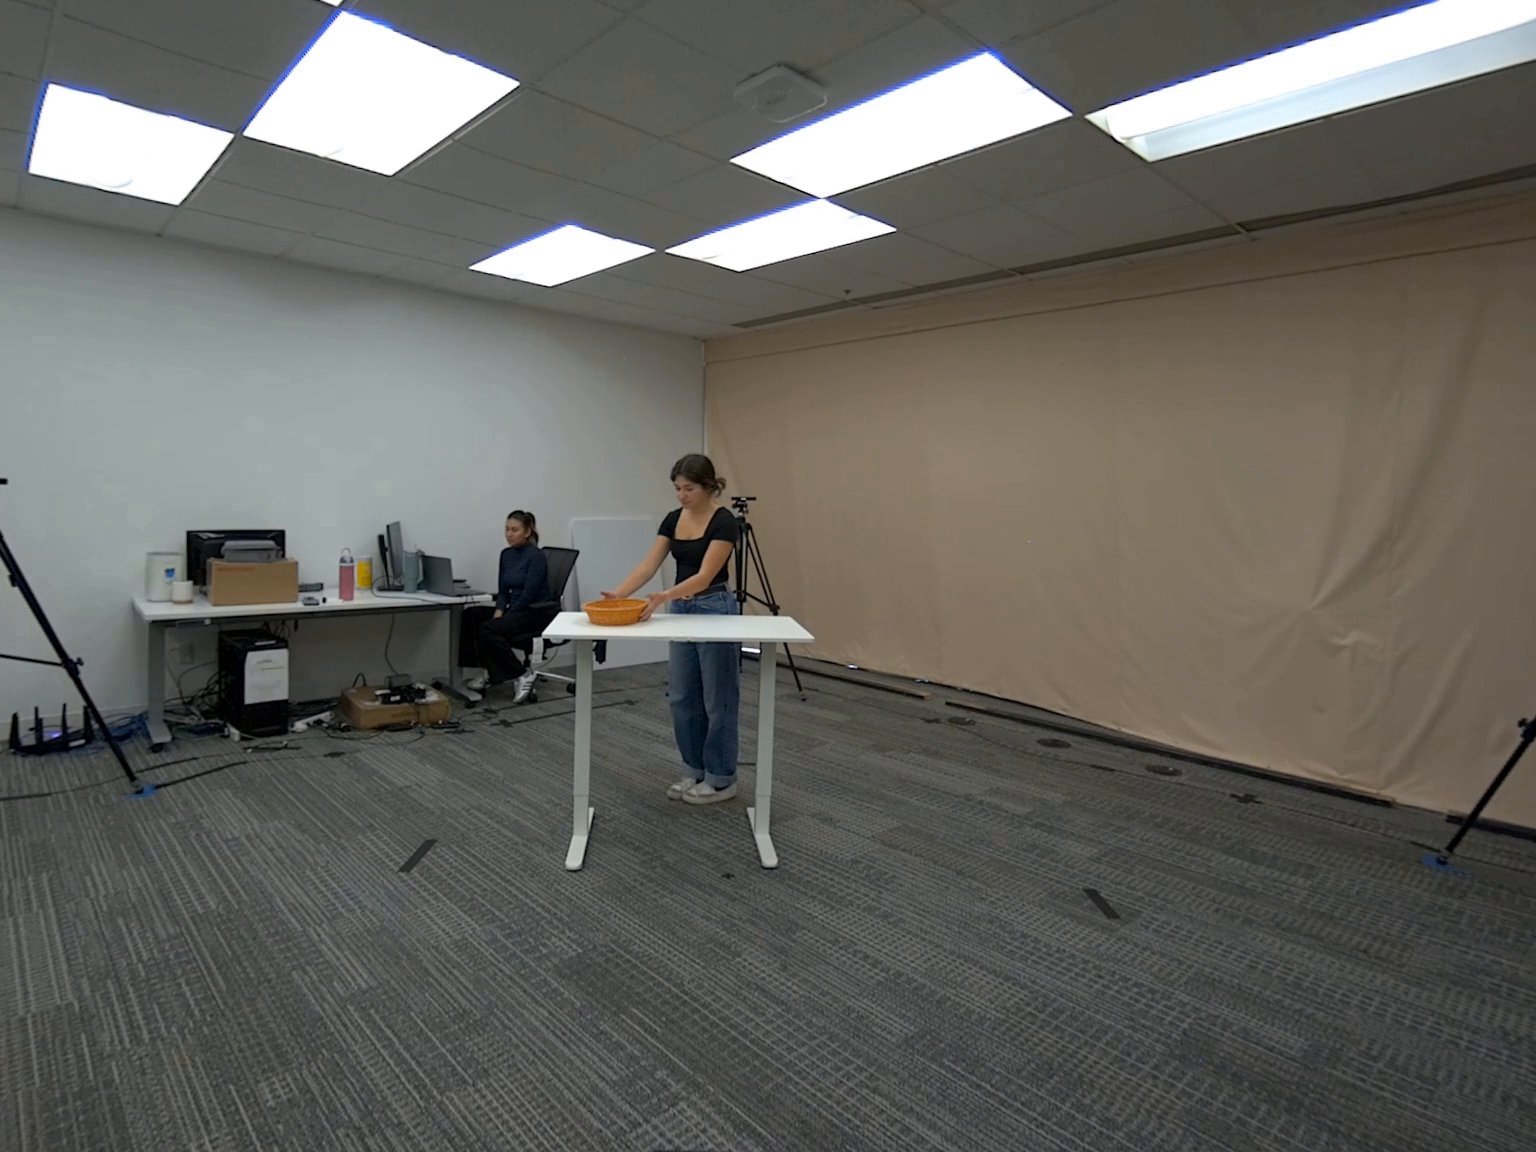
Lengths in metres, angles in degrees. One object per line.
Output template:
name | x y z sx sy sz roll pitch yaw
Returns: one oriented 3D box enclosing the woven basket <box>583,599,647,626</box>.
woven basket | -0.638 0.152 3.435 0.254 0.073 0.348 0 6 10
